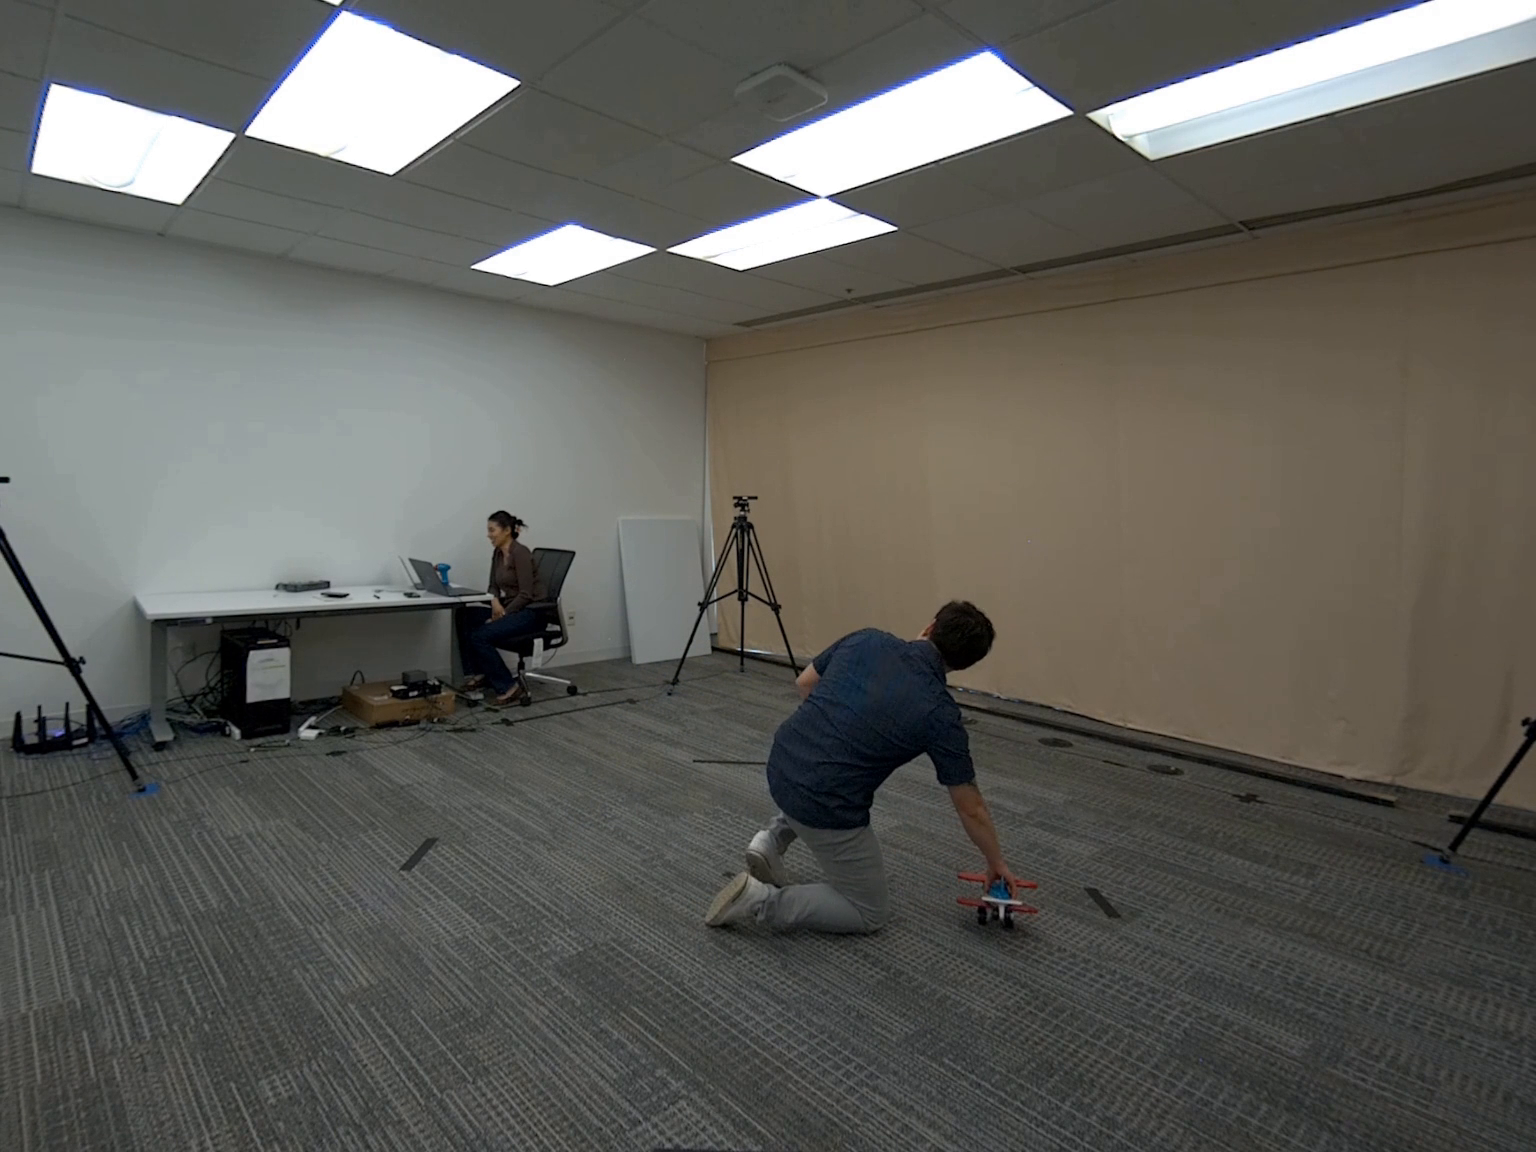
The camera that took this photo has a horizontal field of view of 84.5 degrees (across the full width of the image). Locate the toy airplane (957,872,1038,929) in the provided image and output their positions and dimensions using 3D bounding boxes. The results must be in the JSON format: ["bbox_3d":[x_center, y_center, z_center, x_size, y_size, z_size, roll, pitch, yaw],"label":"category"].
[{"bbox_3d":[0.768,1.057,2.733,0.247,0.159,0.259,16,-28,-17],"label":"toy airplane"}]
